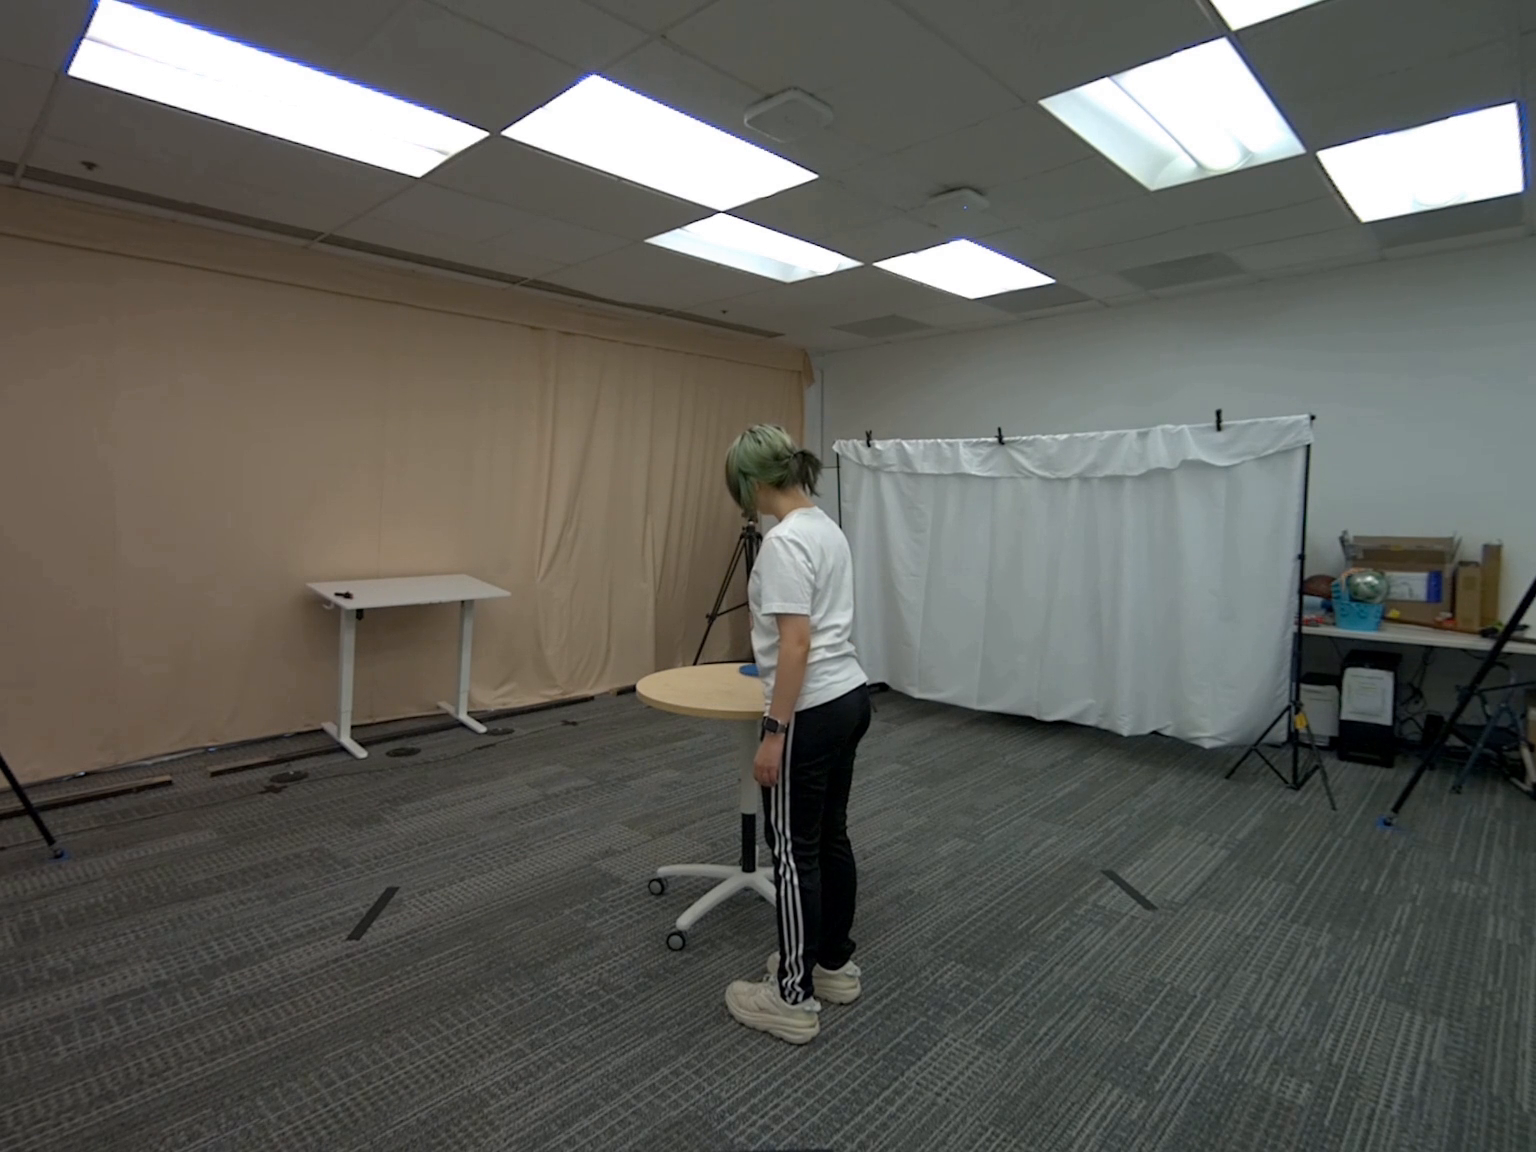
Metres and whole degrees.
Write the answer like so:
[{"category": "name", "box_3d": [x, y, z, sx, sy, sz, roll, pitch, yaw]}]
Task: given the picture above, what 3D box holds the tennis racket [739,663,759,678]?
[{"category": "tennis racket", "box_3d": [0.047, 0.347, 2.988, 0.208, 0.032, 0.445, -3, 4, -29]}]
